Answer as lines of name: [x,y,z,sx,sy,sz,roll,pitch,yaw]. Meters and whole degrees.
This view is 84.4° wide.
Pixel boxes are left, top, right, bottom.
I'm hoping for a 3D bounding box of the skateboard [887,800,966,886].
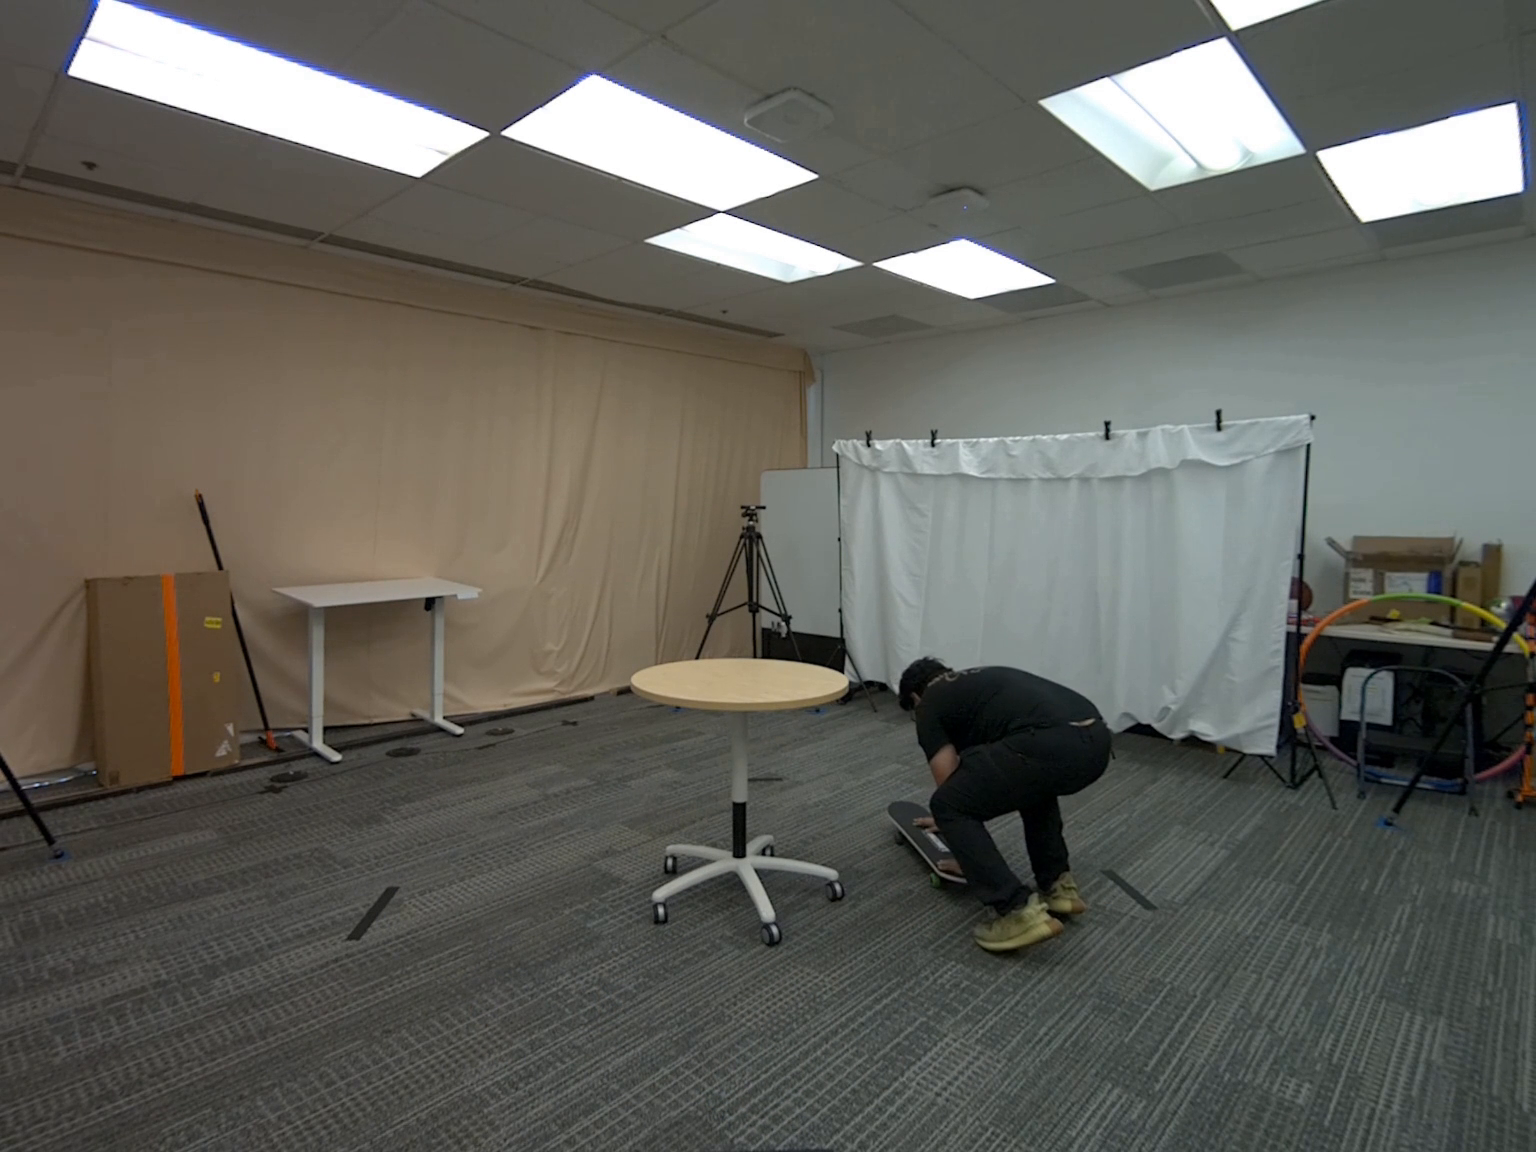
skateboard: [0.651,1.061,3.277,0.191,0.110,0.795,2,5,-11]
